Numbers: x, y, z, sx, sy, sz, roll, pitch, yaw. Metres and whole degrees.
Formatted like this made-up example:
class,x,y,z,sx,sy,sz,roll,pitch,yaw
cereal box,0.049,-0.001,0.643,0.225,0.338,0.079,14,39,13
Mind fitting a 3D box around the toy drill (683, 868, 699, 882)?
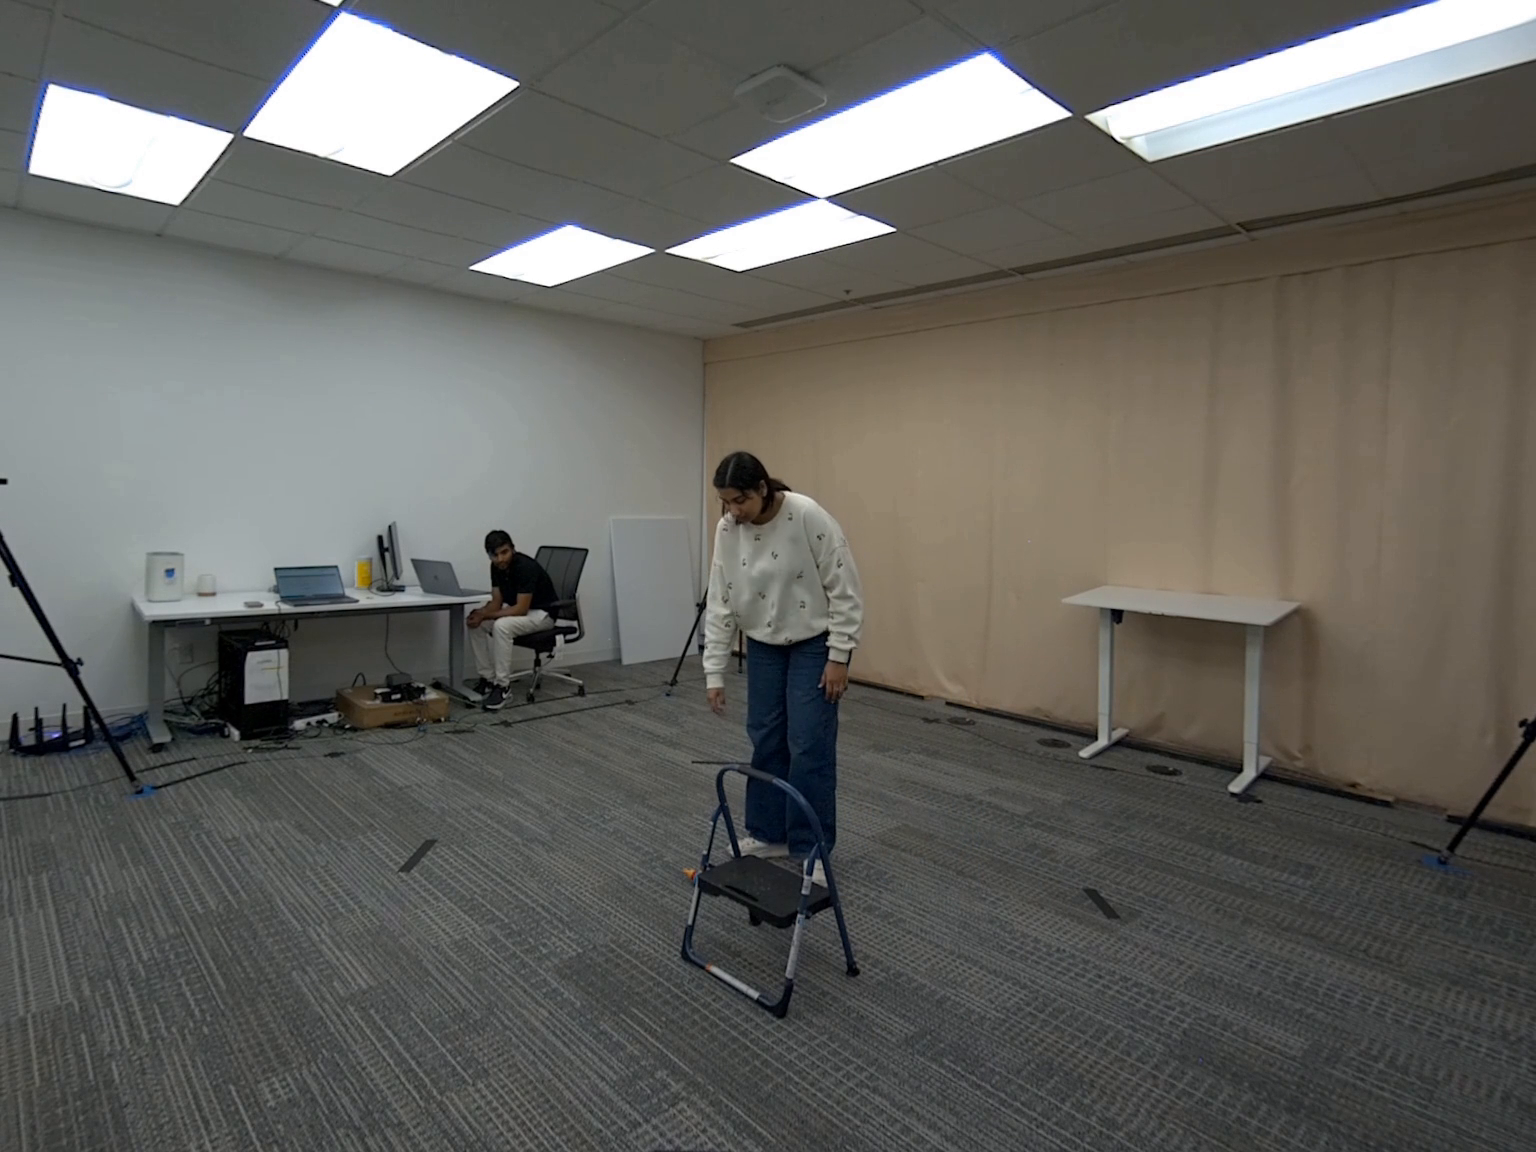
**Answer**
class,x,y,z,sx,sy,sz,roll,pitch,yaw
toy drill,-0.221,1.086,3.032,0.174,0.061,0.143,12,10,36
